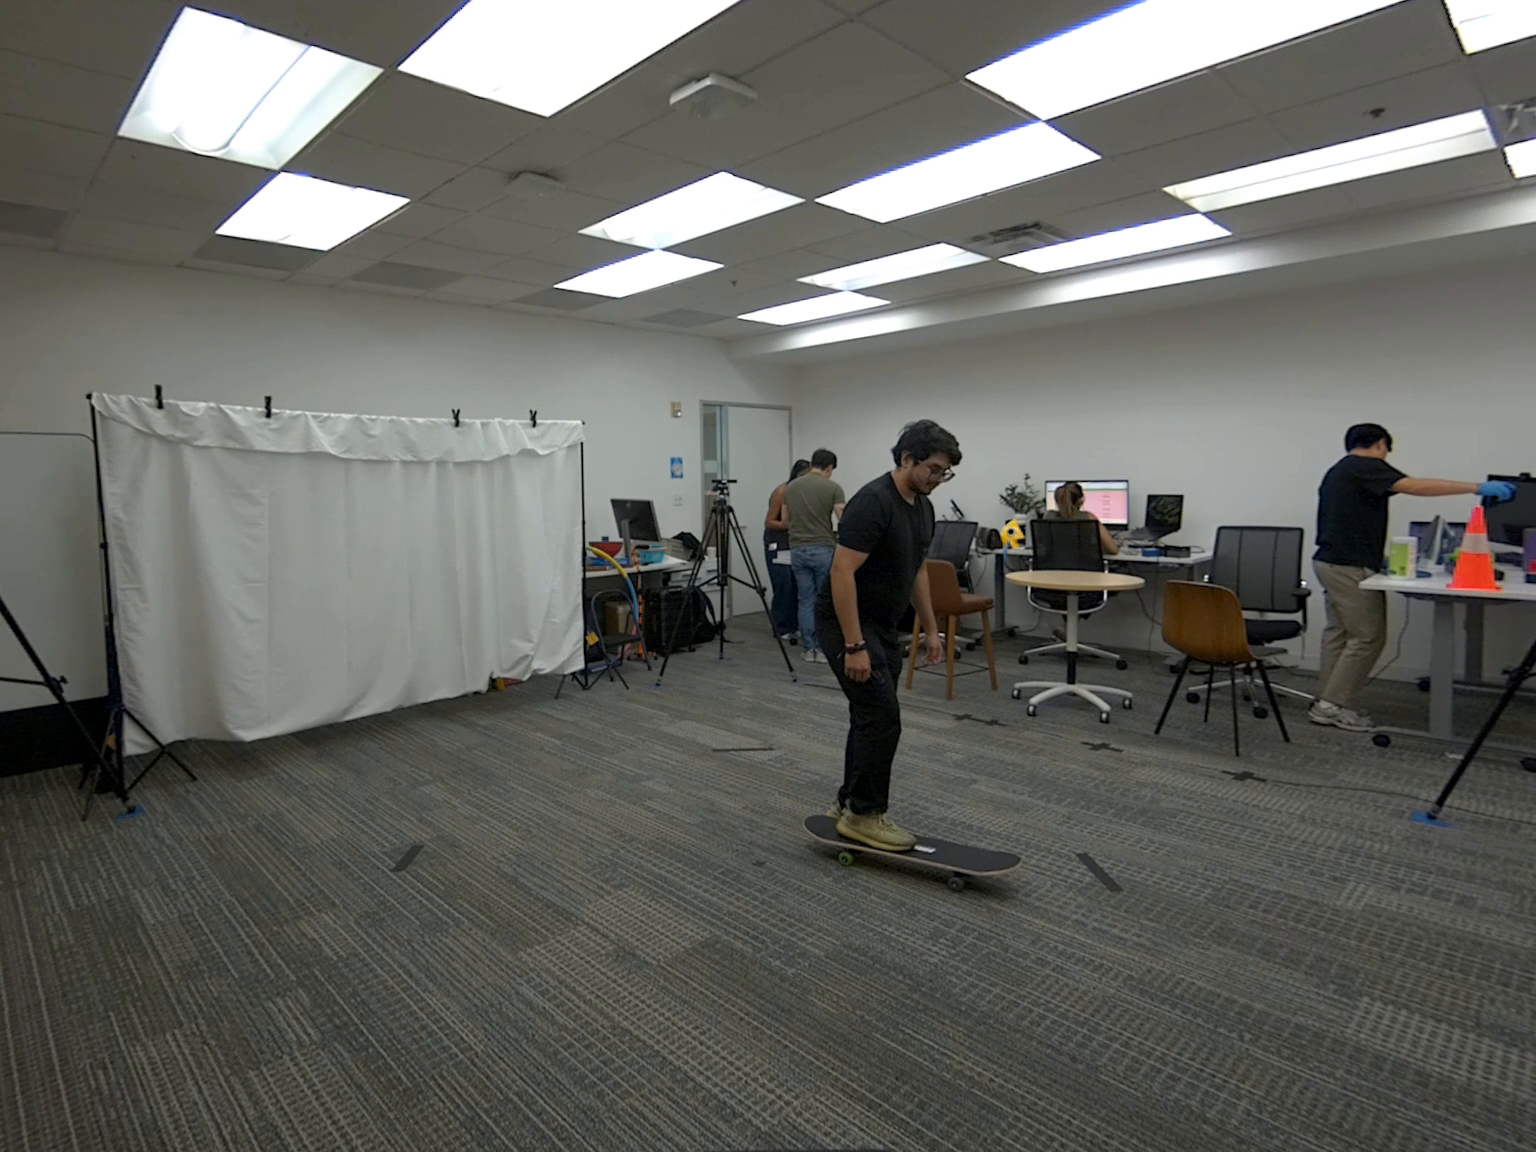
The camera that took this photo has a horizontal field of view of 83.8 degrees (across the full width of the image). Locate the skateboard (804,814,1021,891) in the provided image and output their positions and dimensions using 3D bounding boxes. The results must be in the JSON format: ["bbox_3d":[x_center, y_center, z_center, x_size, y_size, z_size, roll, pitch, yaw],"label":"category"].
[{"bbox_3d":[0.498,0.991,3.047,0.806,0.110,0.189,2,6,30],"label":"skateboard"}]
